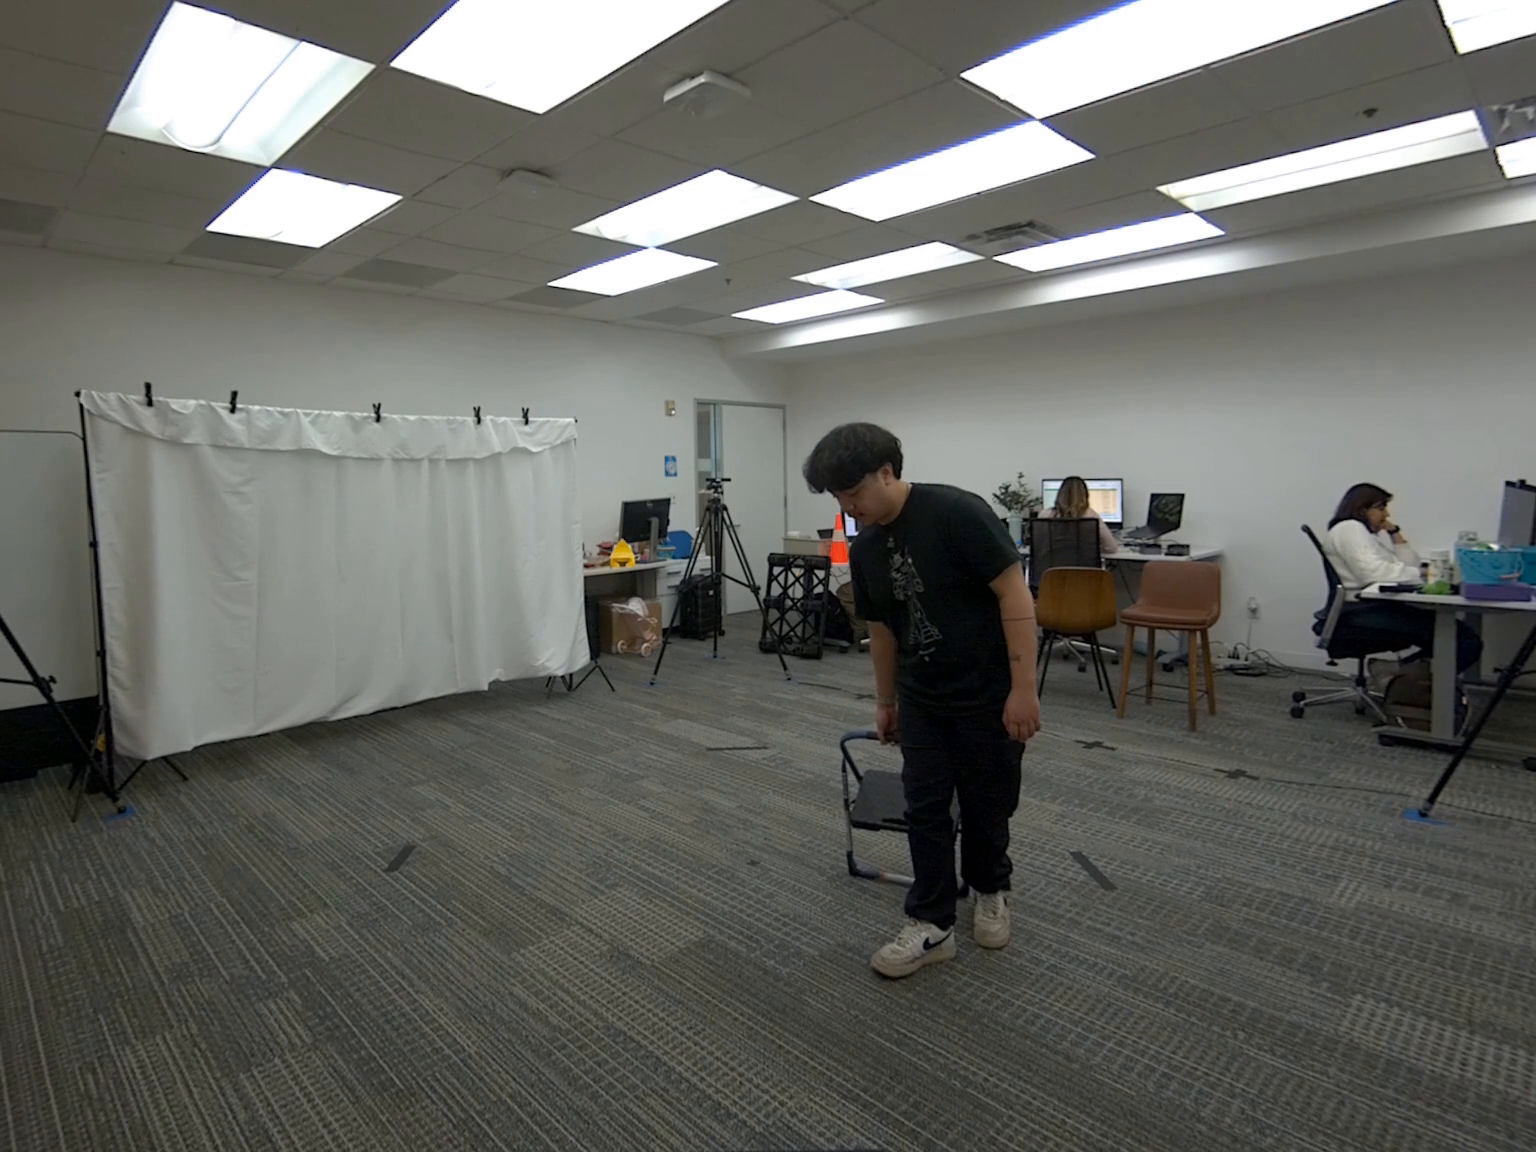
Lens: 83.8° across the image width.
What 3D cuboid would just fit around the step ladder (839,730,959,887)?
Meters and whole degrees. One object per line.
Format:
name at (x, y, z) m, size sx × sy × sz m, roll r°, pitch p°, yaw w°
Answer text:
step ladder at (0.478, 0.719, 2.907) m, size 0.440 × 0.589 × 0.351 m, roll 1°, pitch 33°, yaw 25°
